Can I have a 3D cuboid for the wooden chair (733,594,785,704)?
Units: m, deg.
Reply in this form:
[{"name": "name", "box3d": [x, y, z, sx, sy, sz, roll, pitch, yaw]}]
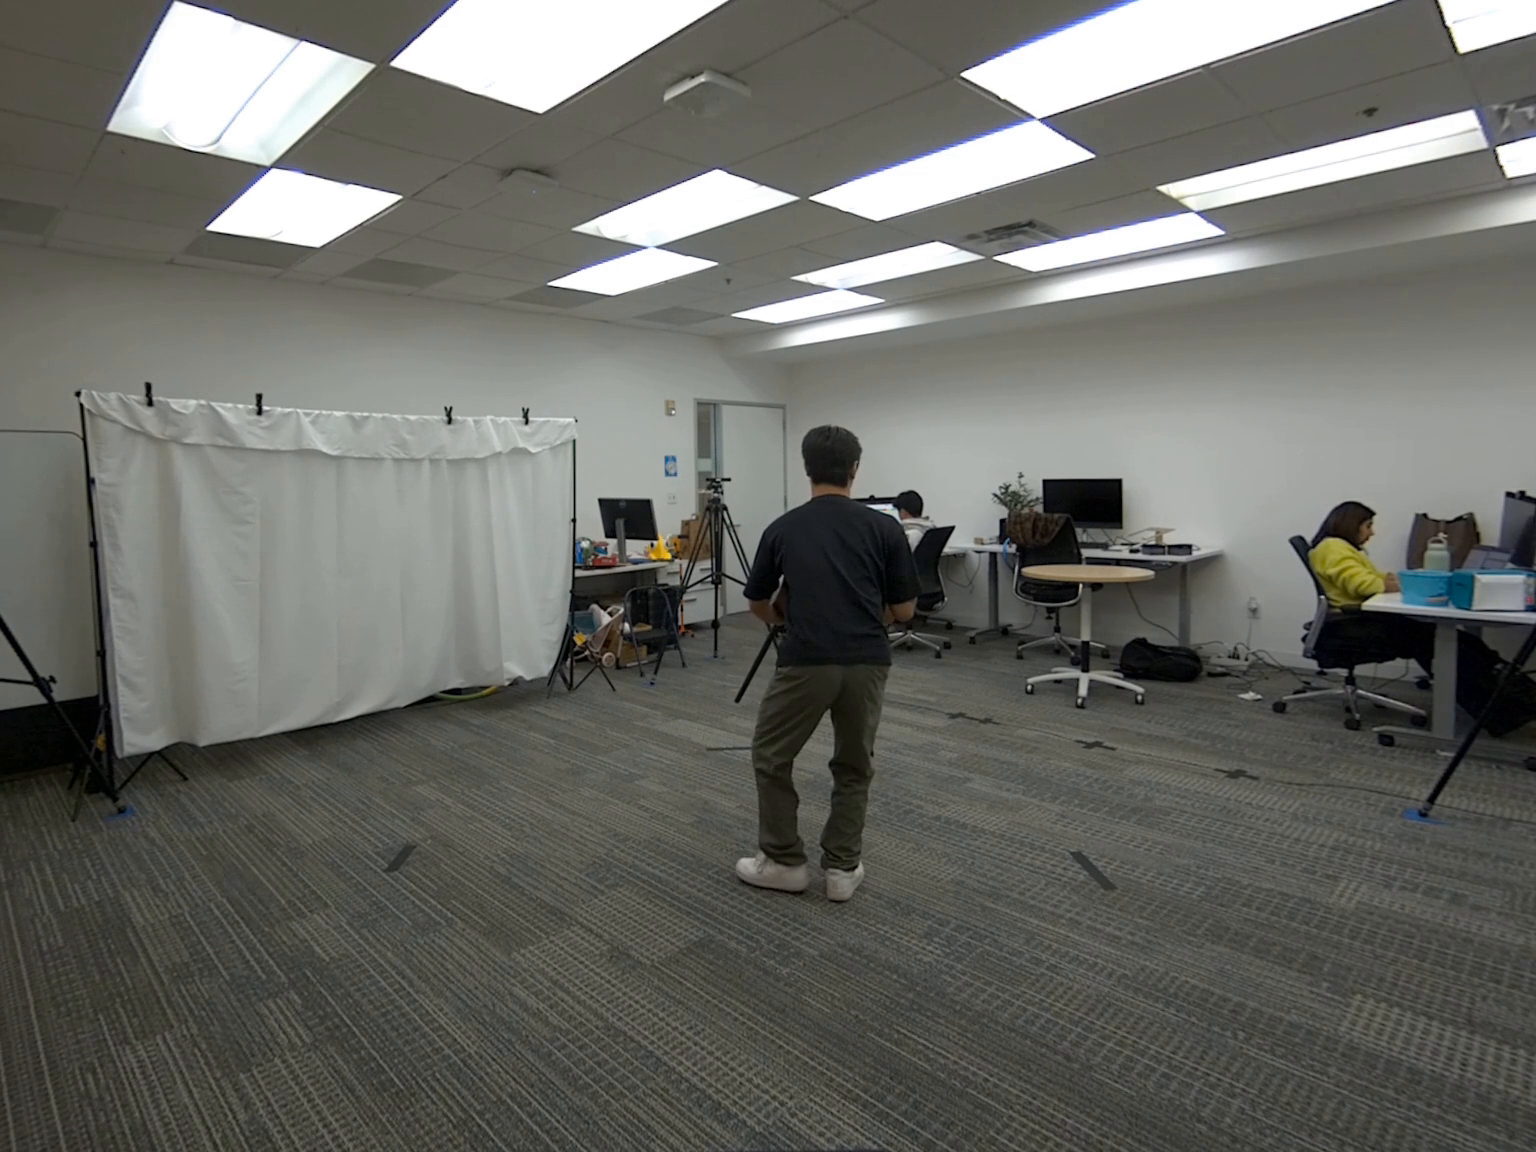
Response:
[{"name": "wooden chair", "box3d": [0.195, 0.179, 3.282, 0.472, 0.871, 0.533, 9, 10, -12]}]
